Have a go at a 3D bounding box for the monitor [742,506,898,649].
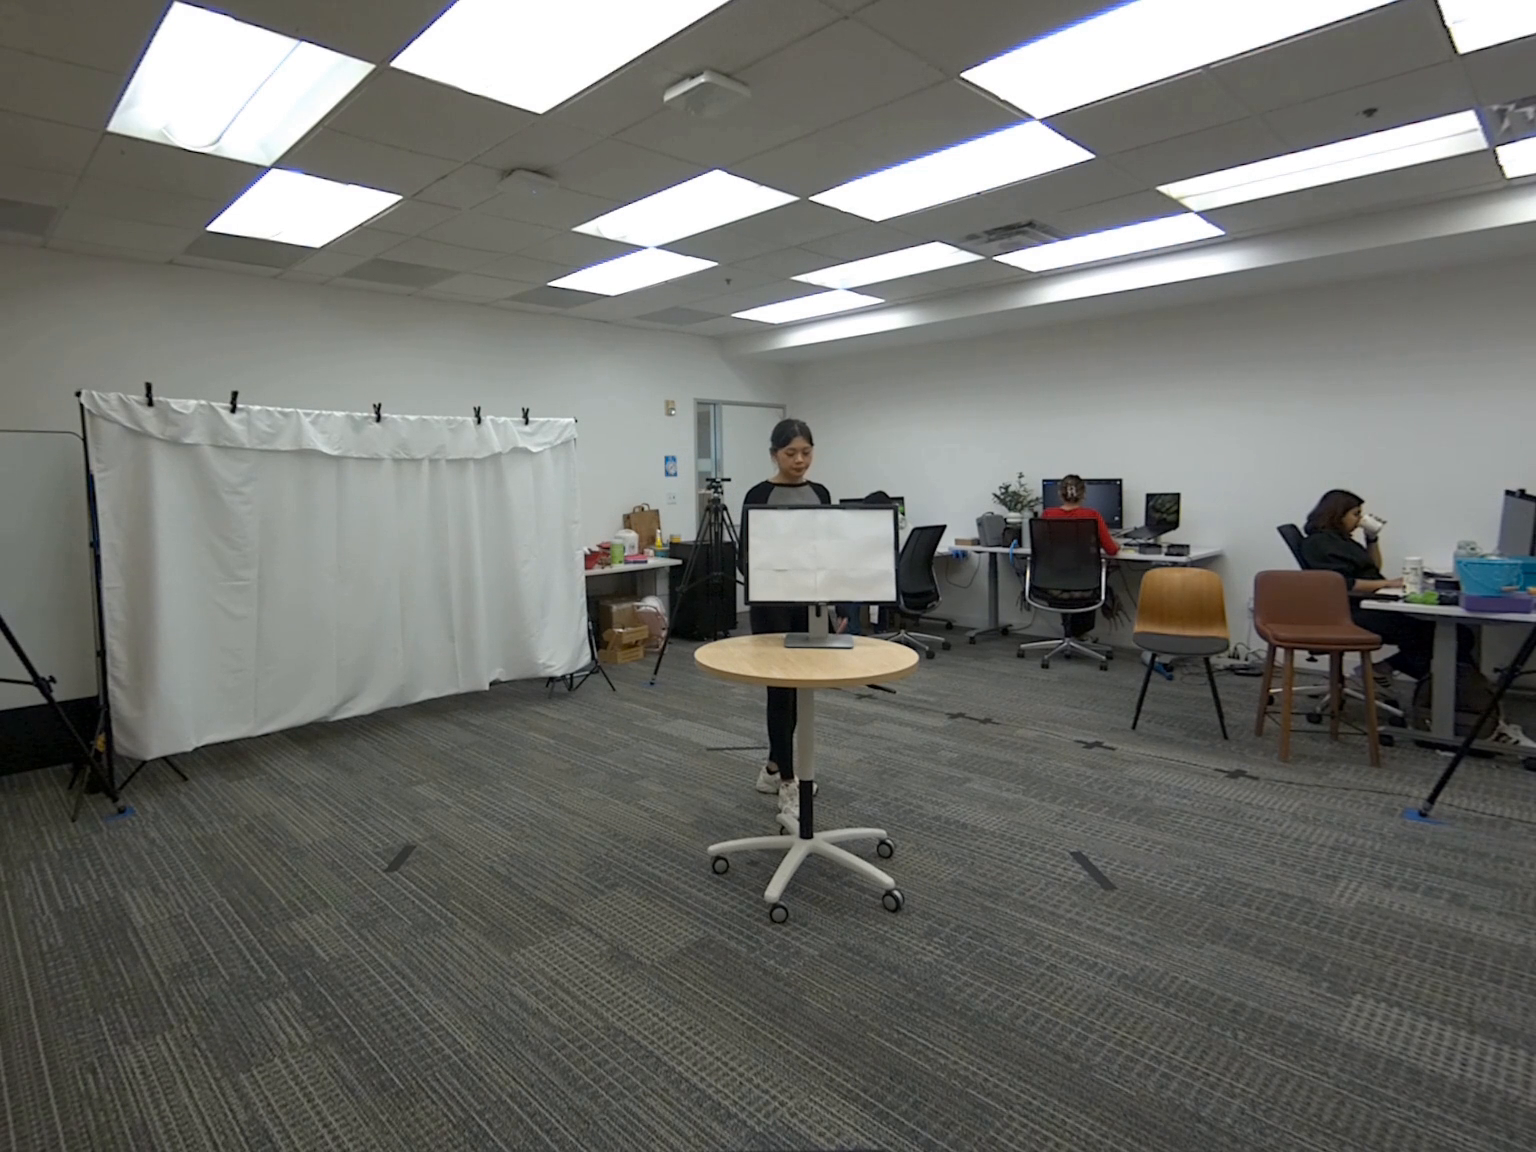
[{"bbox_3d":[0.179,0.001,3.118,0.538,0.520,0.188,-1,5,-2],"label":"monitor"}]
